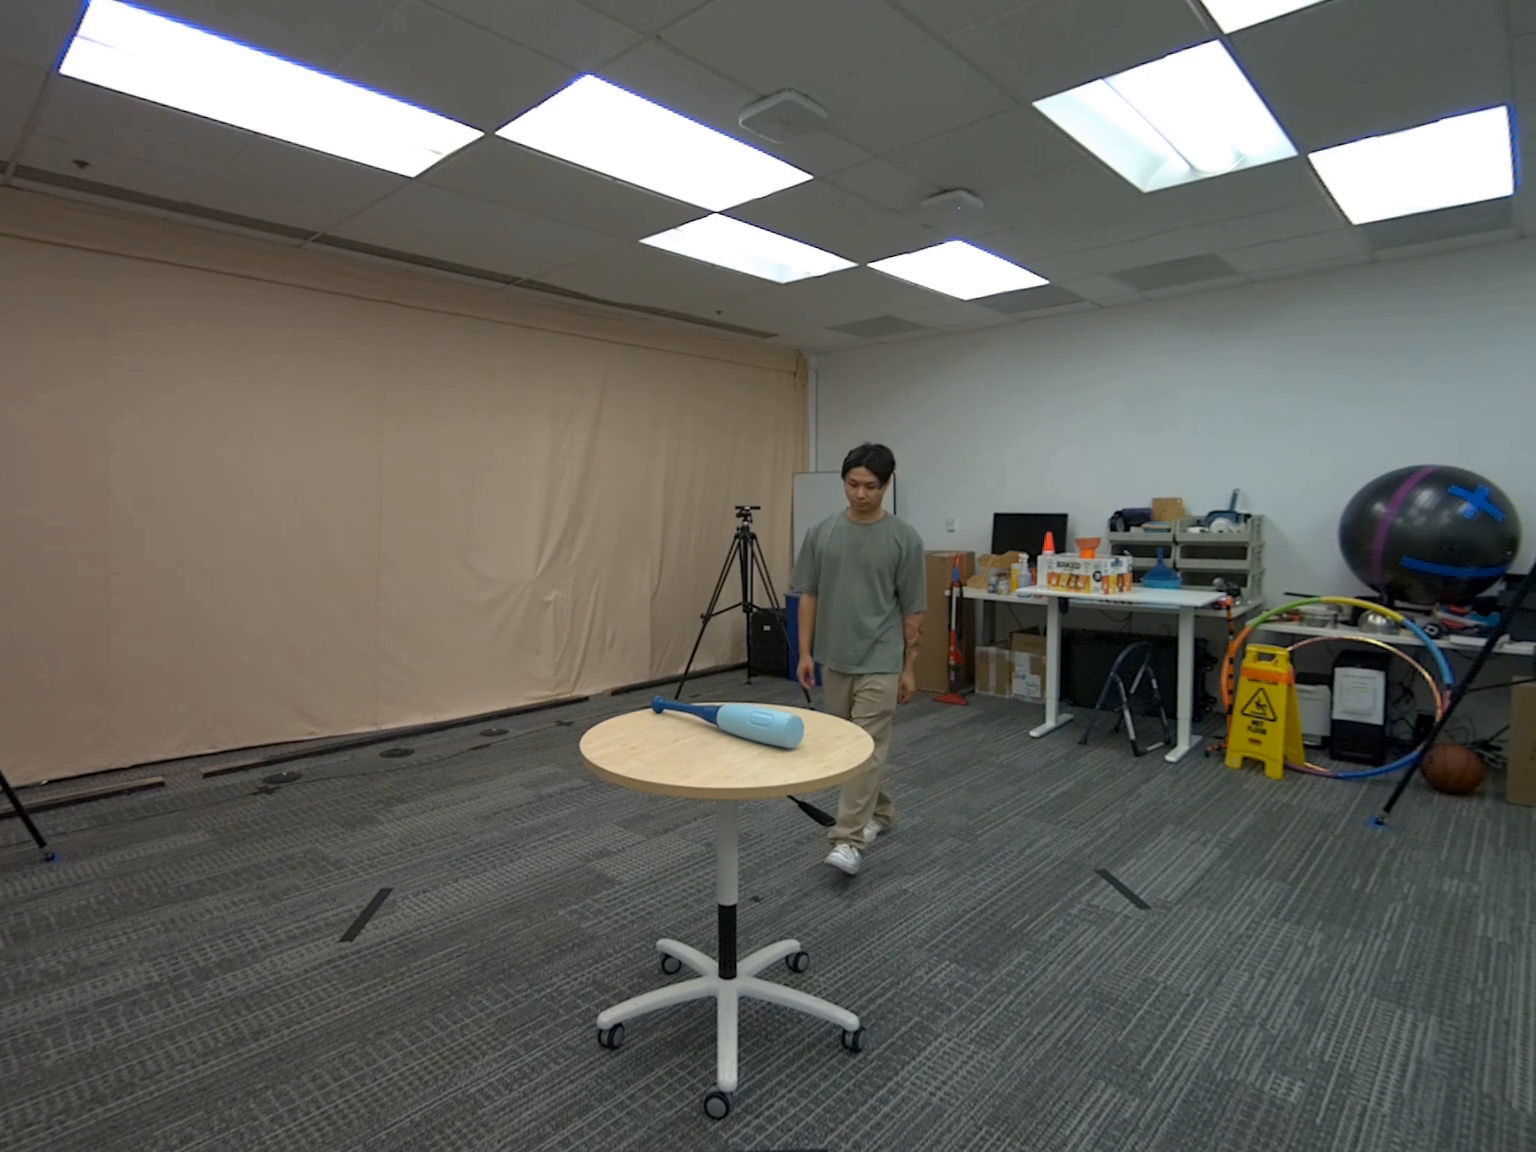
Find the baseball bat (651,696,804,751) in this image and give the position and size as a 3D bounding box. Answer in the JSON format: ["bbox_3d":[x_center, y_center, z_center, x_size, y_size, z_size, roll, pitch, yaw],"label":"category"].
[{"bbox_3d":[-0.124,0.382,2.287,0.561,0.089,0.086,2,4,44],"label":"baseball bat"}]
